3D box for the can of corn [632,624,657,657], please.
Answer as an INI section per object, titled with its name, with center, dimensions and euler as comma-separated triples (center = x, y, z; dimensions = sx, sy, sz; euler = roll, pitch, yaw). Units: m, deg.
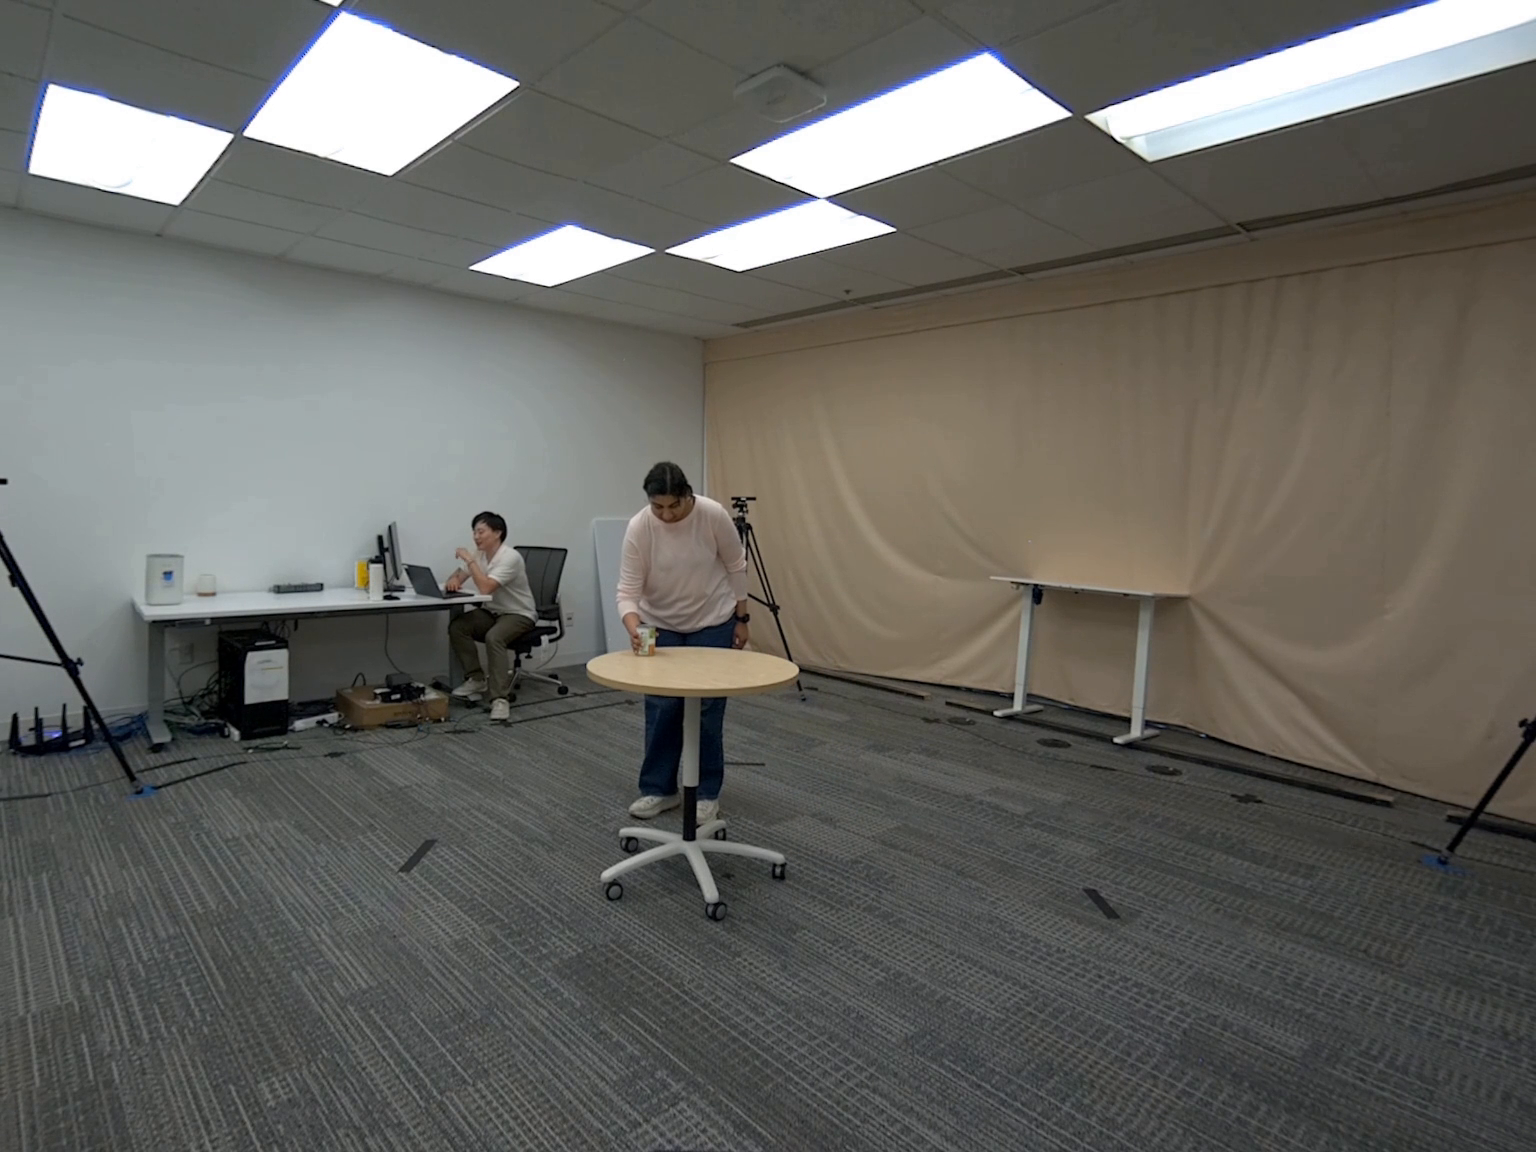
[can of corn]
center = -0.493, 0.251, 3.228
dimensions = 0.074, 0.111, 0.074
euler = 0, -1, -1
